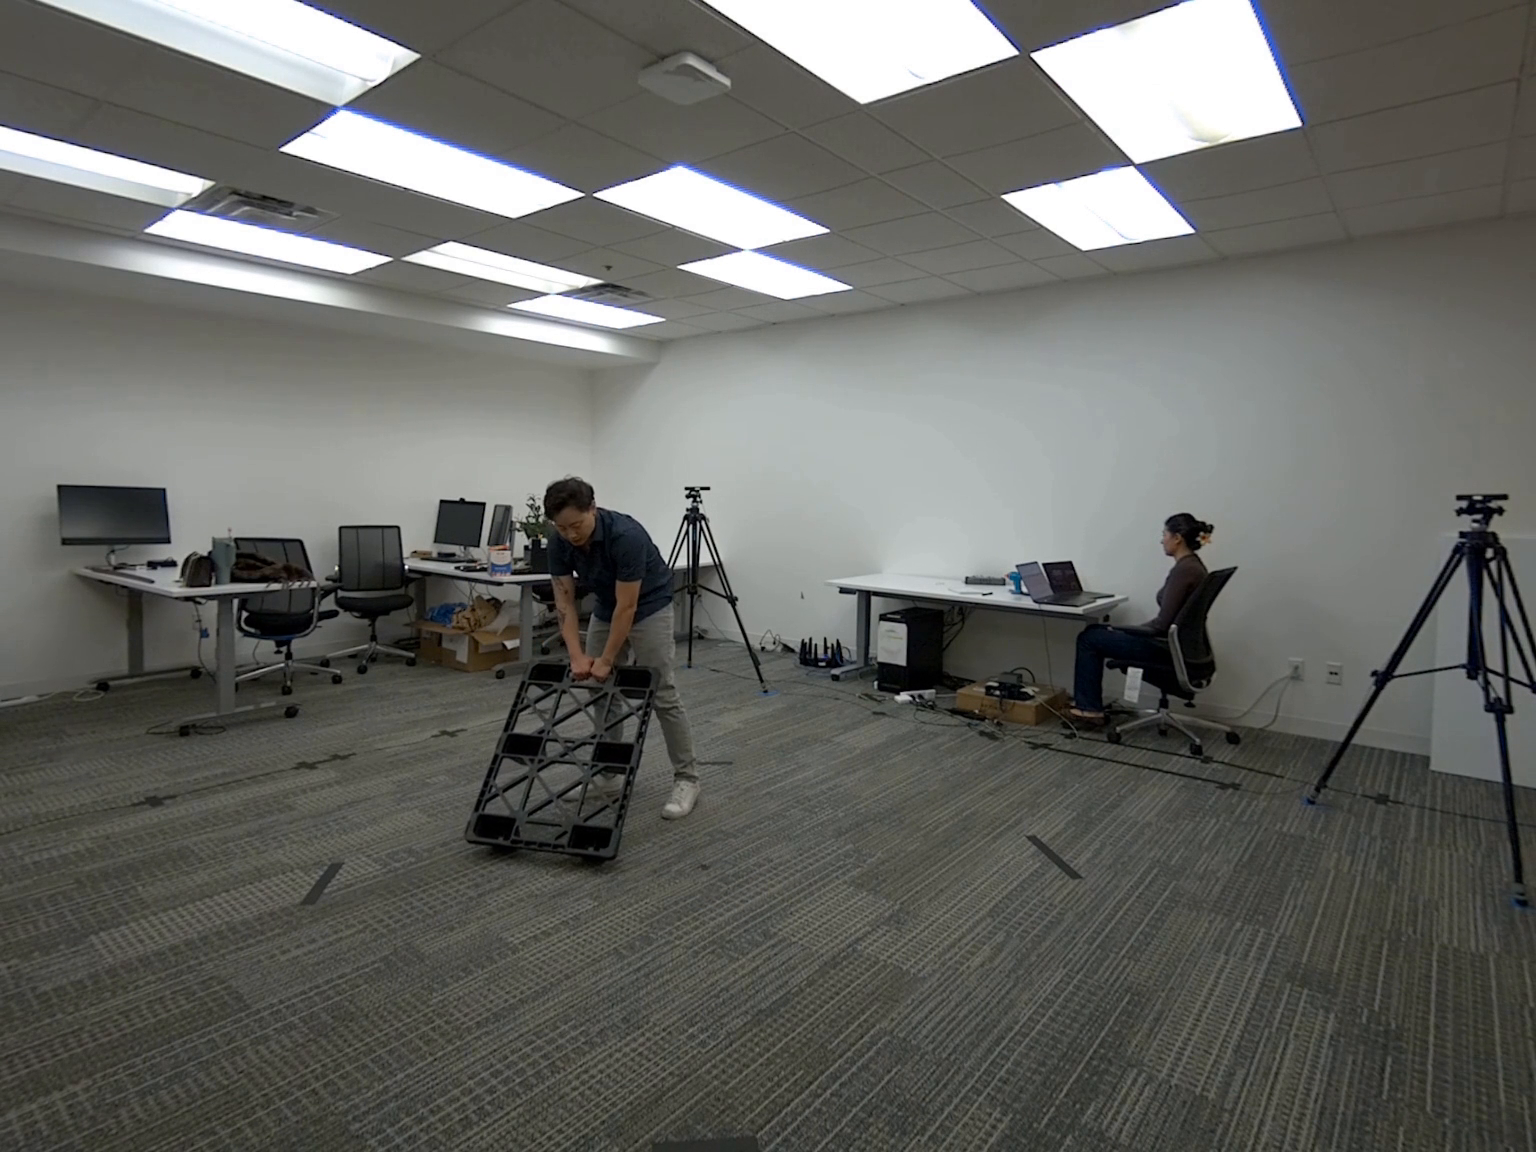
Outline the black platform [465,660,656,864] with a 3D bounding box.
[{"bbox_3d":[-0.794,0.717,3.406,0.613,0.823,0.138,1,-40,12],"label":"black platform"}]
